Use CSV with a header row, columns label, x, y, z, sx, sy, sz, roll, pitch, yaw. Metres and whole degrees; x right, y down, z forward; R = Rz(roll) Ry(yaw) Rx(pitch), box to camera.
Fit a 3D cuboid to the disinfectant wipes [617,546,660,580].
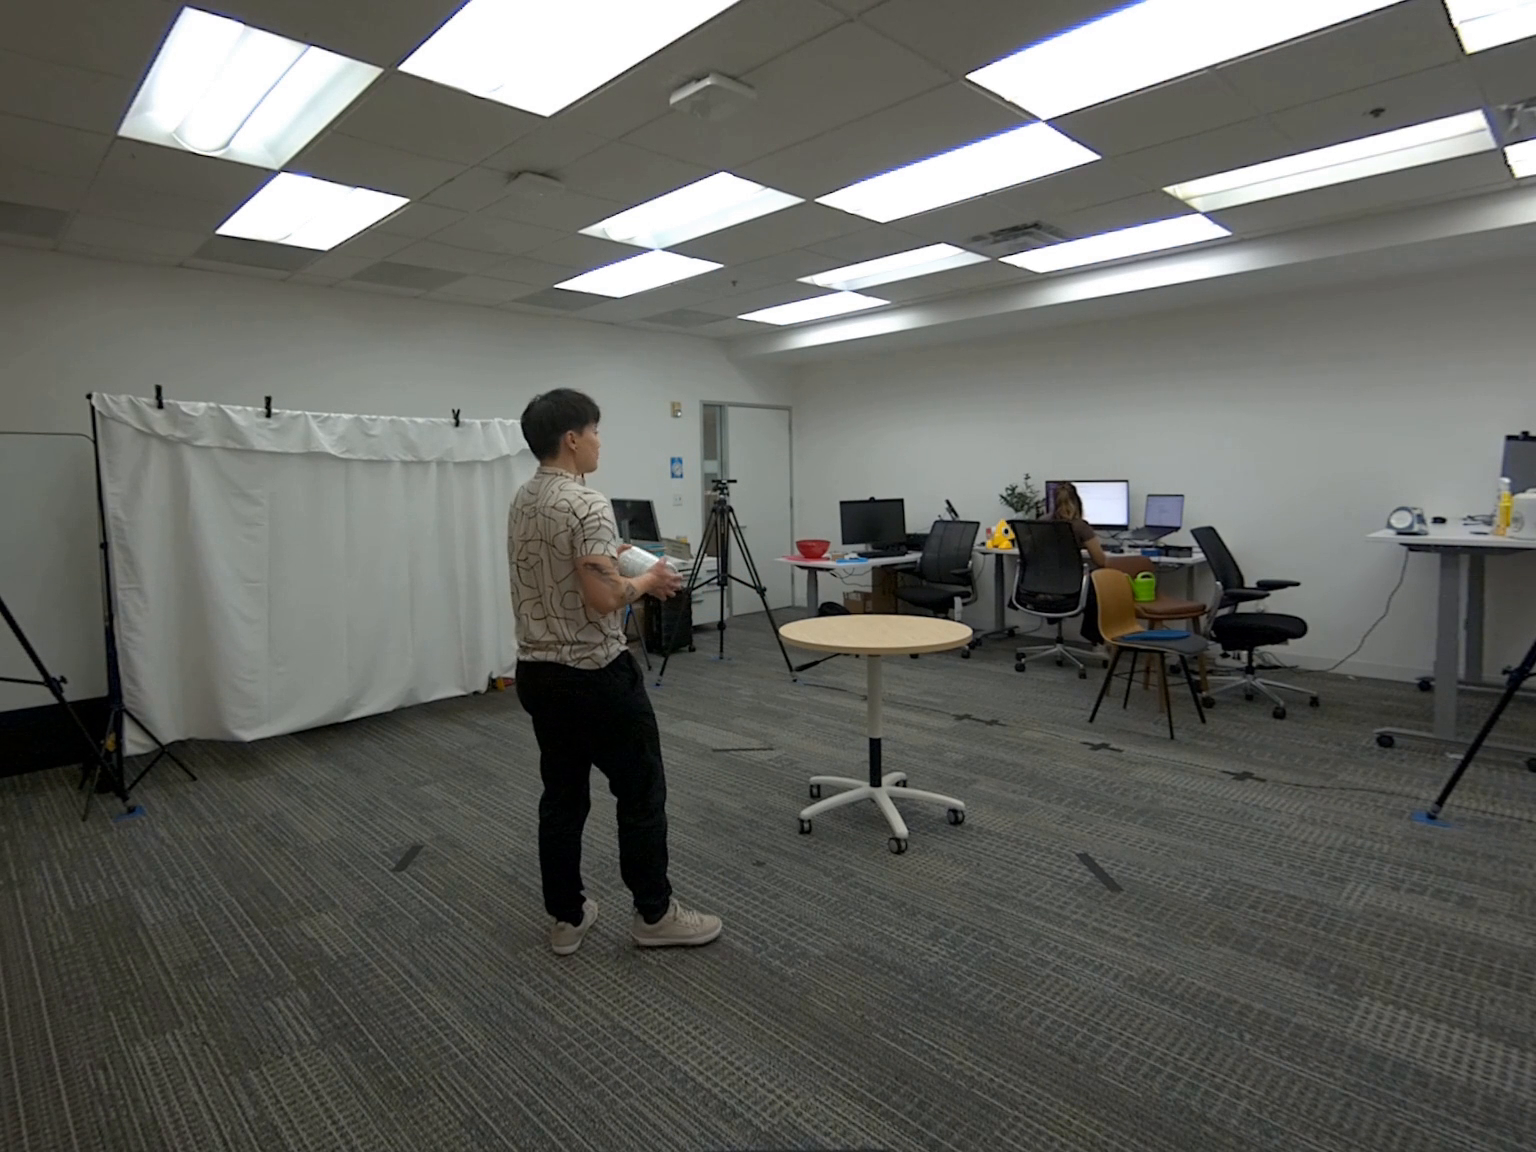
label,x,y,z,sx,sy,sz,roll,pitch,yaw
disinfectant wipes,-0.393,-0.010,2.717,0.115,0.116,0.225,-5,18,-39
